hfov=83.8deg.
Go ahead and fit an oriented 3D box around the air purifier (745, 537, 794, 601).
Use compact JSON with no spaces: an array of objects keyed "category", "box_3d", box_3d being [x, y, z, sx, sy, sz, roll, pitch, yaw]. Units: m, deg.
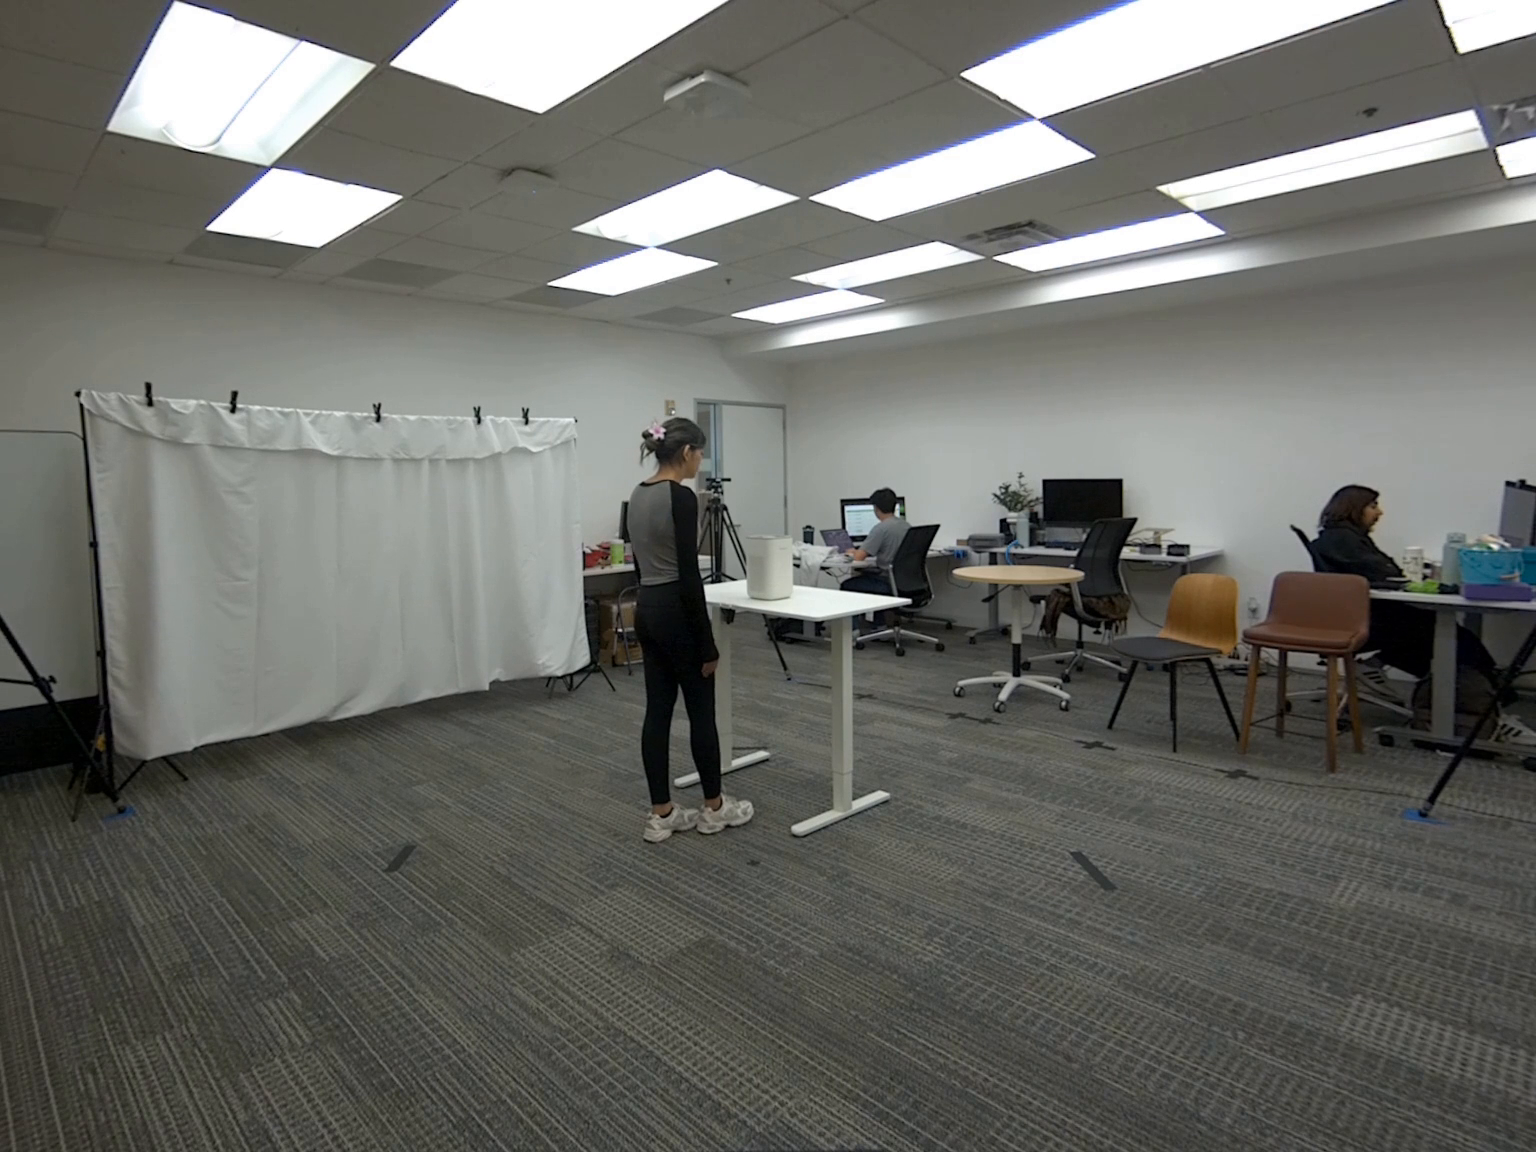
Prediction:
[{"category":"air purifier","box_3d":[0.007,-0.038,3.680,0.166,0.264,0.177,-5,6,-45]}]
